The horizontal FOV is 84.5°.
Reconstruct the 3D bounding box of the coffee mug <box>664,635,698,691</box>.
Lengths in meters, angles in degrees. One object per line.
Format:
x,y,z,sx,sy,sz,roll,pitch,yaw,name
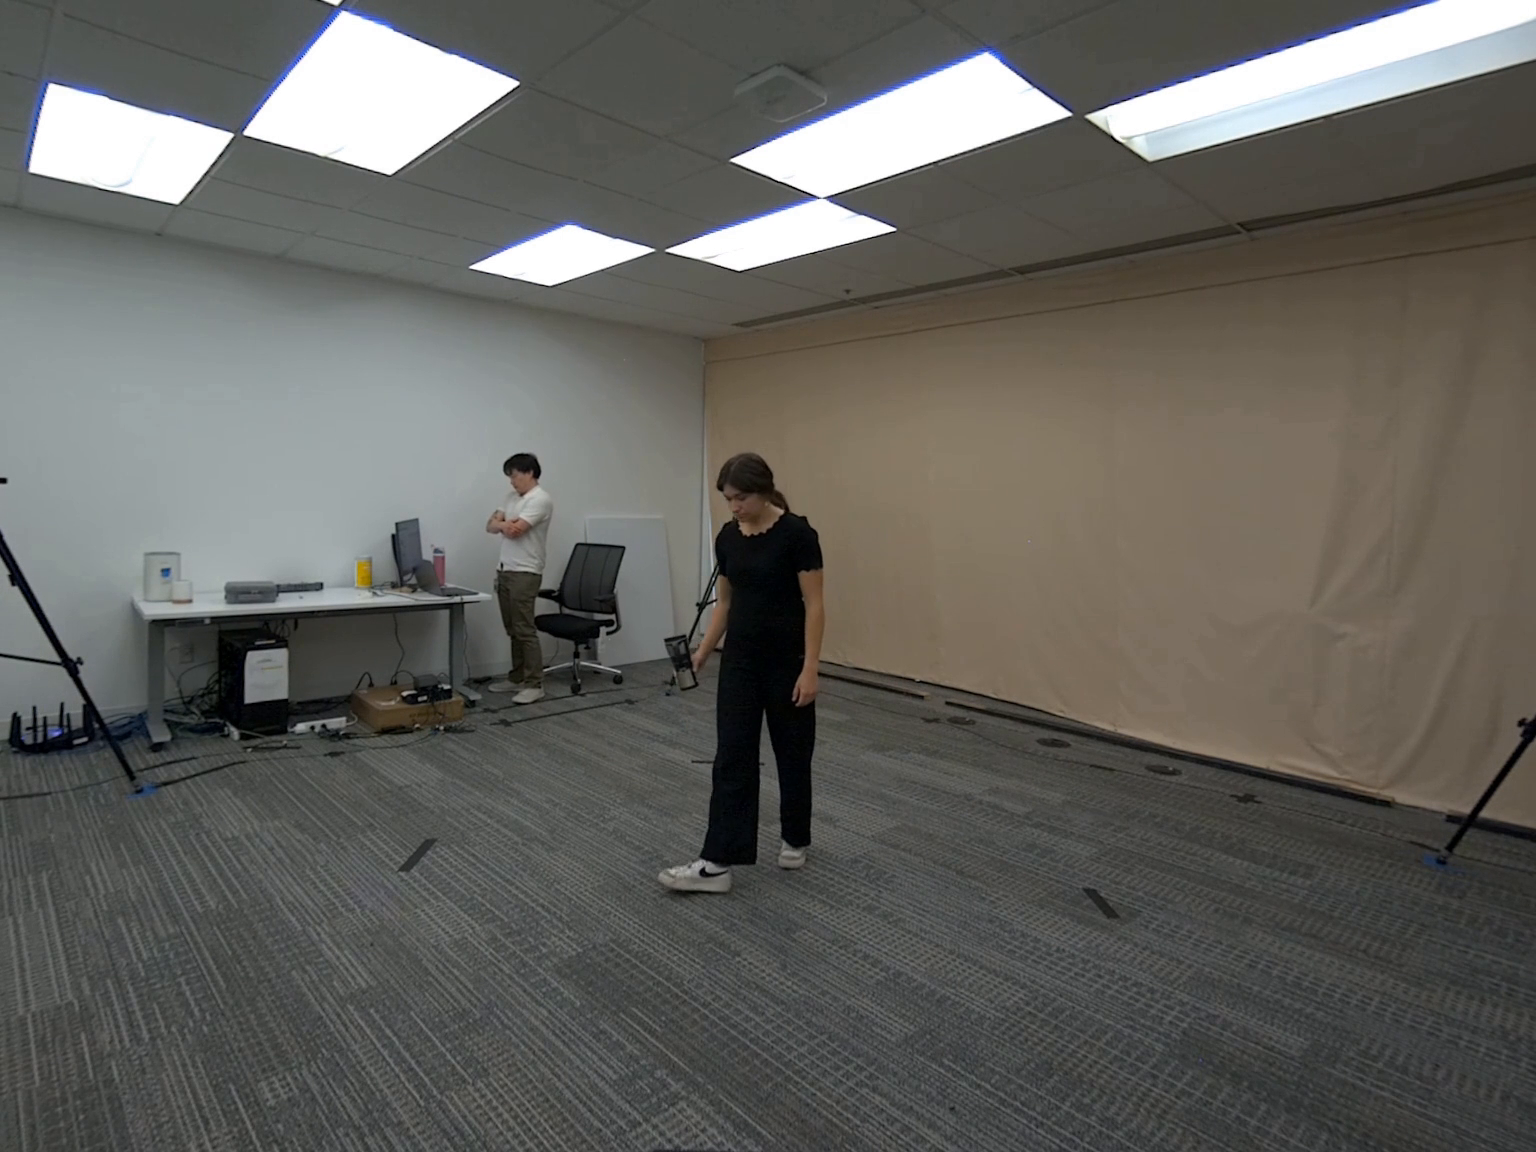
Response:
-0.336,0.318,3.108,0.089,0.203,0.120,-14,-2,24,coffee mug
